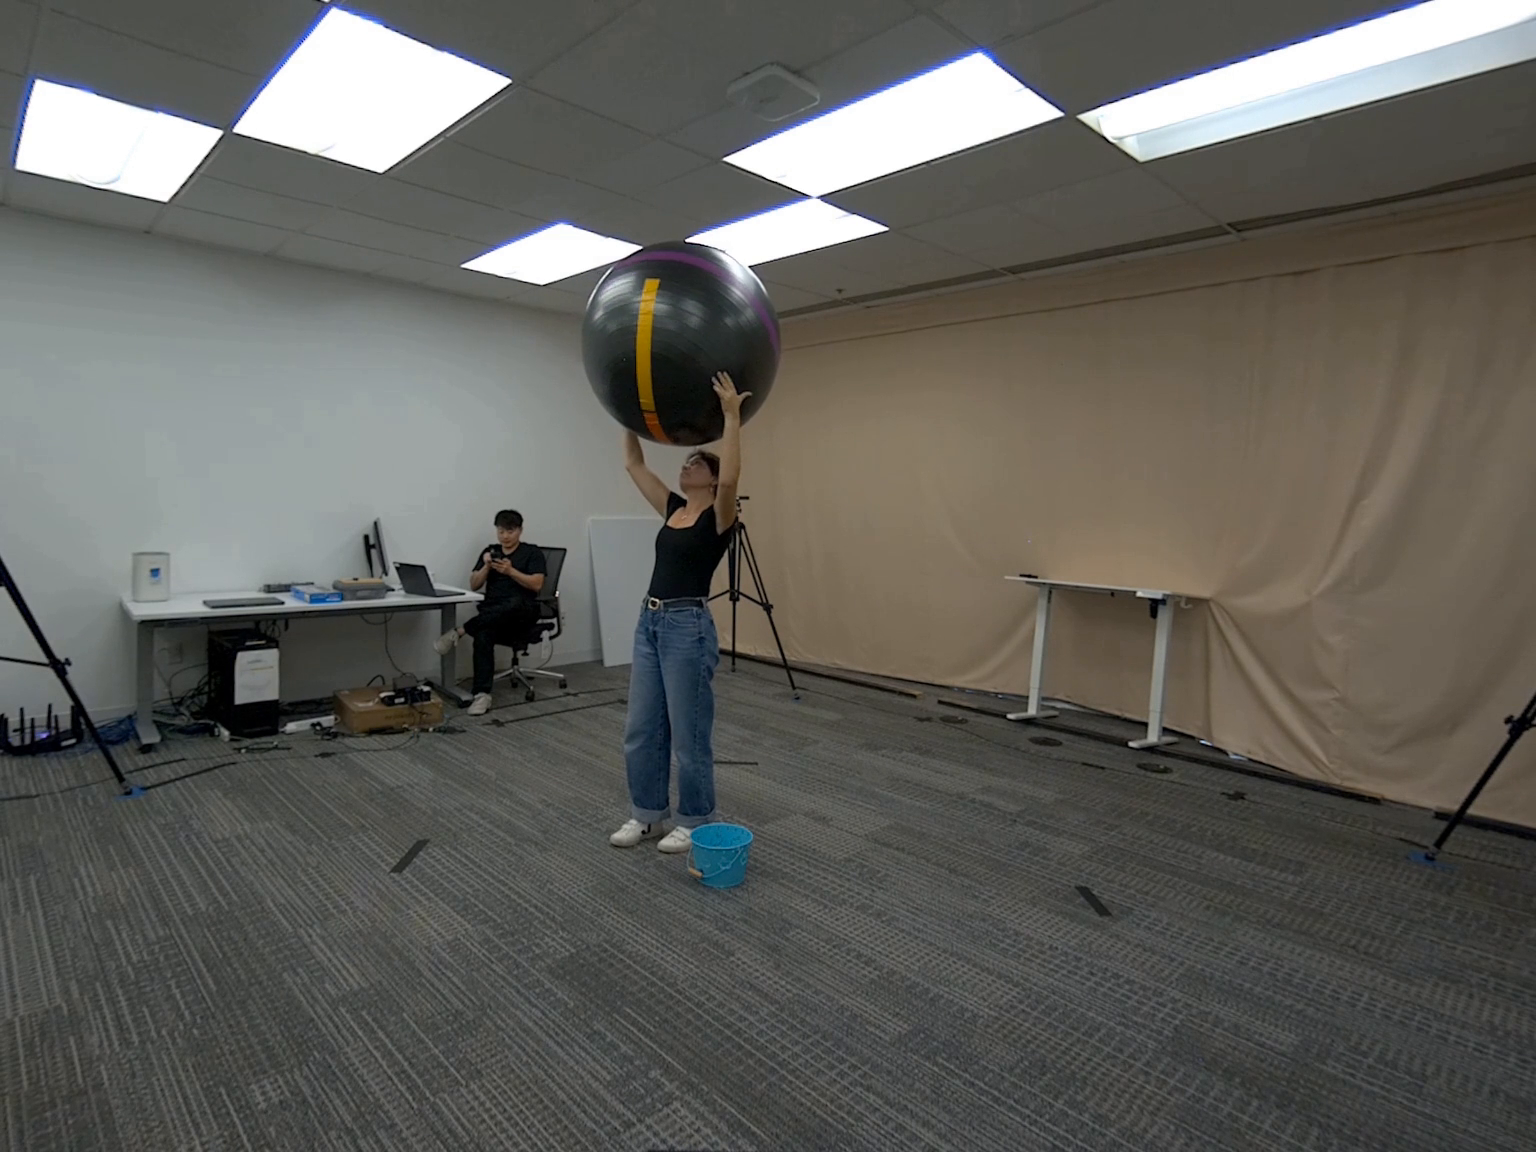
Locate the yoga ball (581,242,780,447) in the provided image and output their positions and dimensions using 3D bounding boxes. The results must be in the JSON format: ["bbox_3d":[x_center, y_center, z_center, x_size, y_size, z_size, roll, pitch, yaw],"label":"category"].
[{"bbox_3d":[-0.334,-0.871,3.204,0.757,0.756,0.761,1,4,-1],"label":"yoga ball"}]
